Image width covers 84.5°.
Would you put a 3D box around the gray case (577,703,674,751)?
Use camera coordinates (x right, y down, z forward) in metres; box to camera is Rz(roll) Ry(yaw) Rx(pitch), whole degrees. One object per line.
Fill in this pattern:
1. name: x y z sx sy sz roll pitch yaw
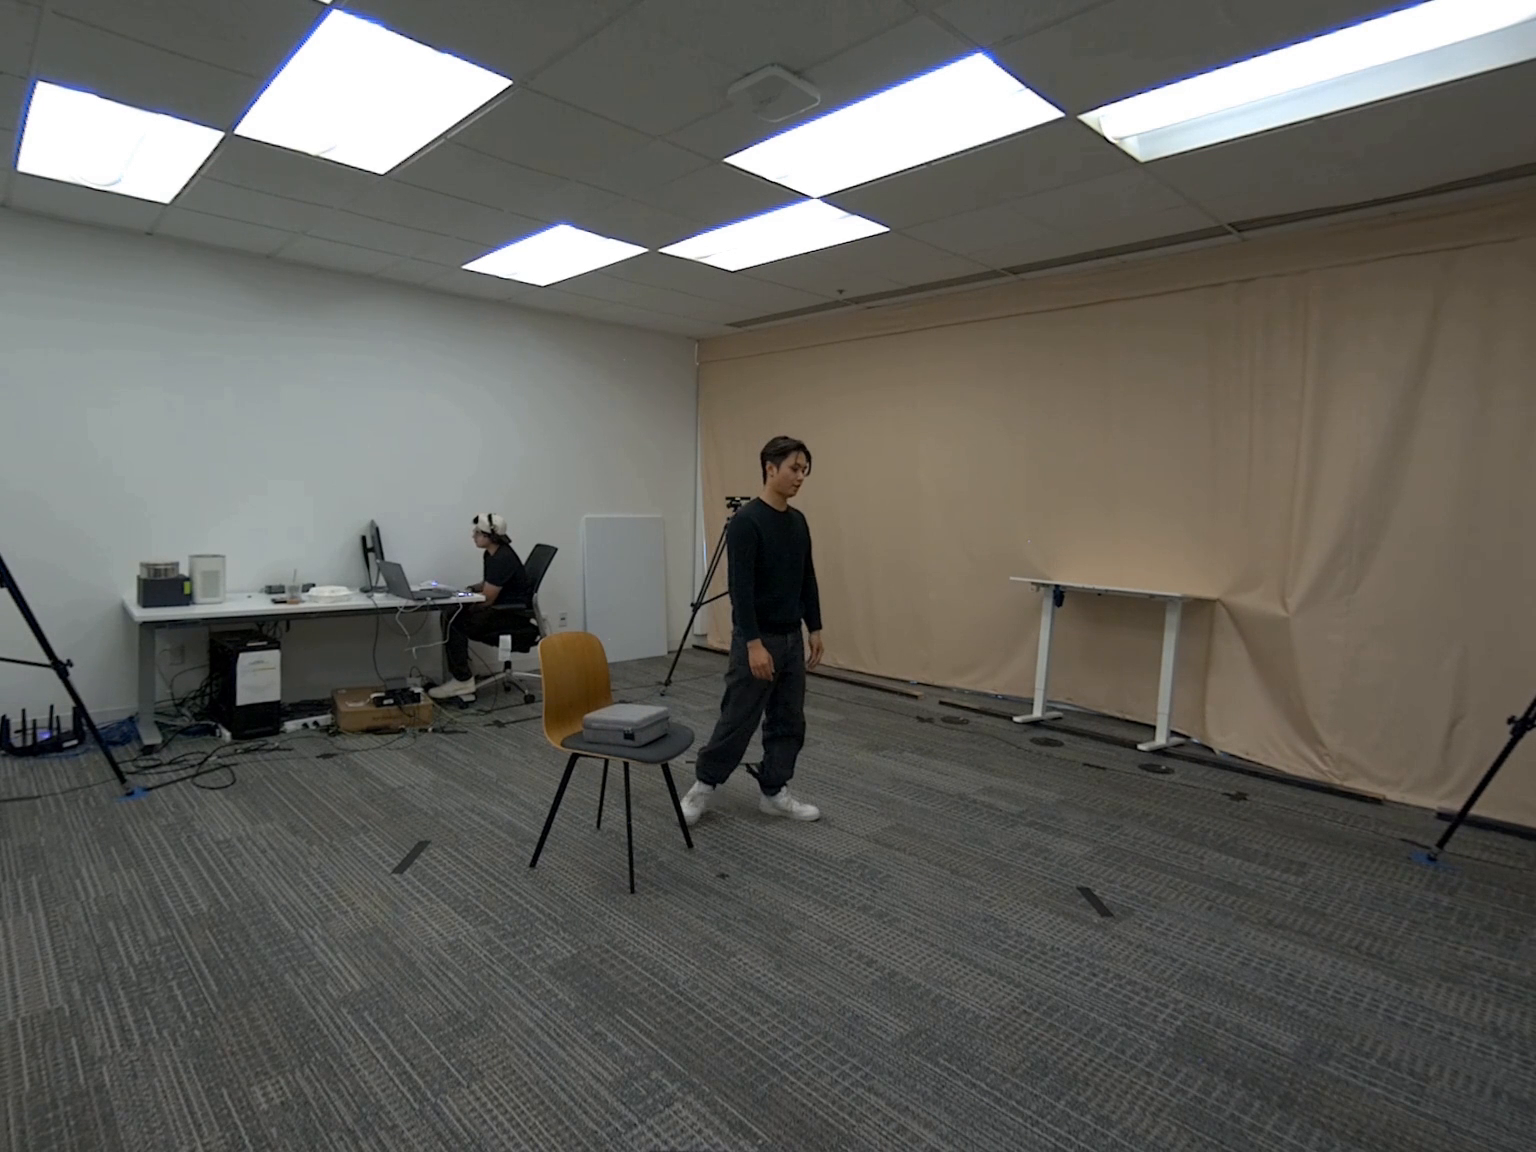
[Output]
1. gray case: -0.531 0.559 3.163 0.261 0.104 0.256 -1 2 24
